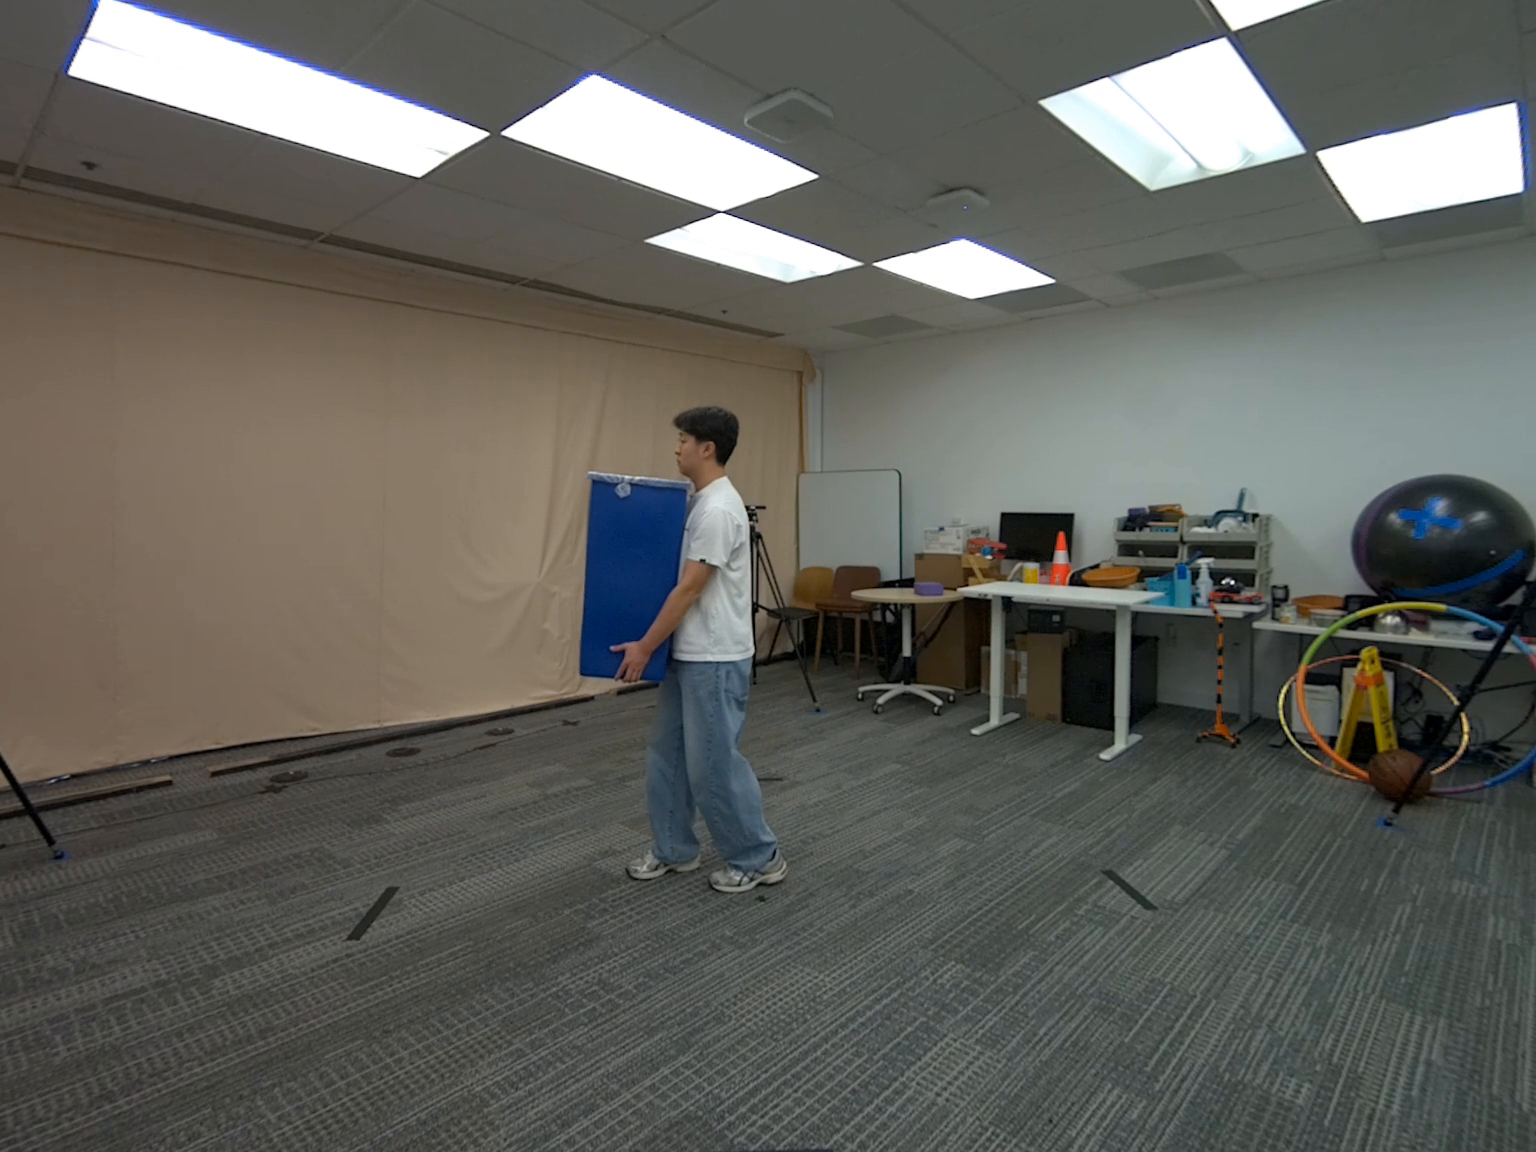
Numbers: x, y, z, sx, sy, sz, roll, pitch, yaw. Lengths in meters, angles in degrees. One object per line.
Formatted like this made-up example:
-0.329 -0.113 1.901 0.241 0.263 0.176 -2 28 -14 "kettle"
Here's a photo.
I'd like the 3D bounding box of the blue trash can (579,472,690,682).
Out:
-0.508 -0.013 3.098 0.375 0.712 0.377 5 4 -7 "blue trash can"
